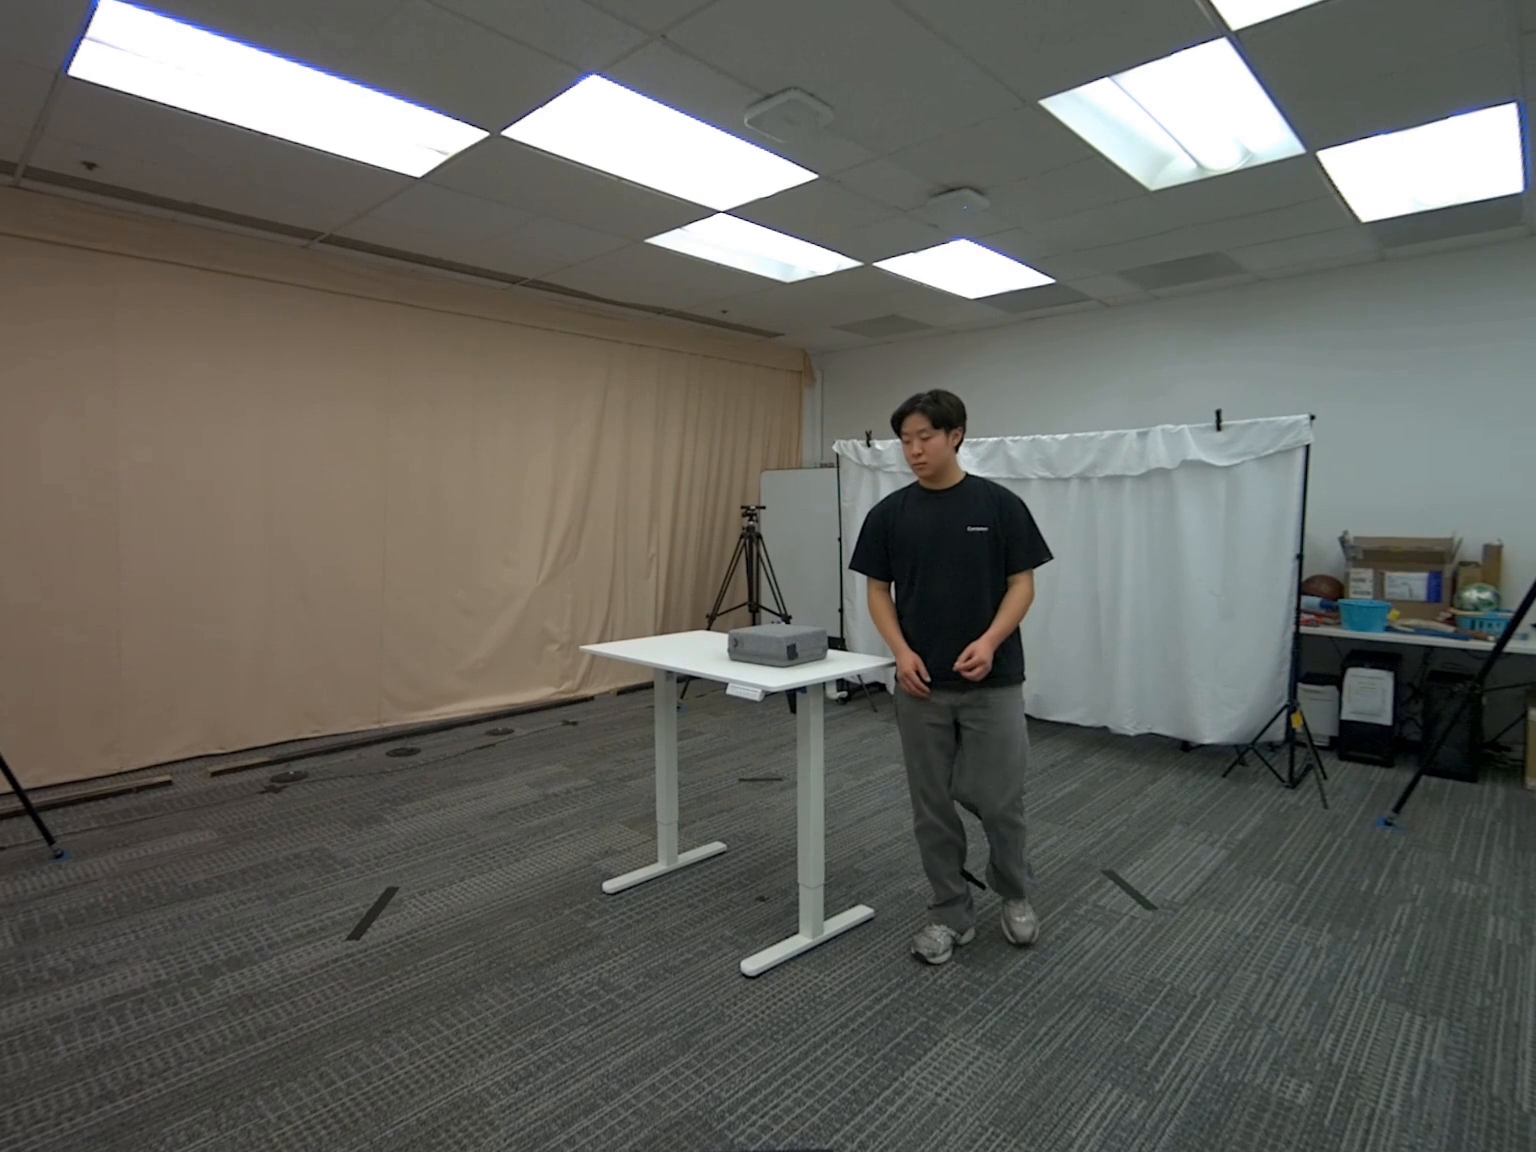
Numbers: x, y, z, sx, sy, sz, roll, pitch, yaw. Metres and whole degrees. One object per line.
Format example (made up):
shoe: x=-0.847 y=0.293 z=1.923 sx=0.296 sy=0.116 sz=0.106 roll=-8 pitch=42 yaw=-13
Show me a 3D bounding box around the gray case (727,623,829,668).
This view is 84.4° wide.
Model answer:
gray case: x=0.021 y=0.223 z=2.791 sx=0.297 sy=0.103 sz=0.255 roll=4 pitch=5 yaw=42
